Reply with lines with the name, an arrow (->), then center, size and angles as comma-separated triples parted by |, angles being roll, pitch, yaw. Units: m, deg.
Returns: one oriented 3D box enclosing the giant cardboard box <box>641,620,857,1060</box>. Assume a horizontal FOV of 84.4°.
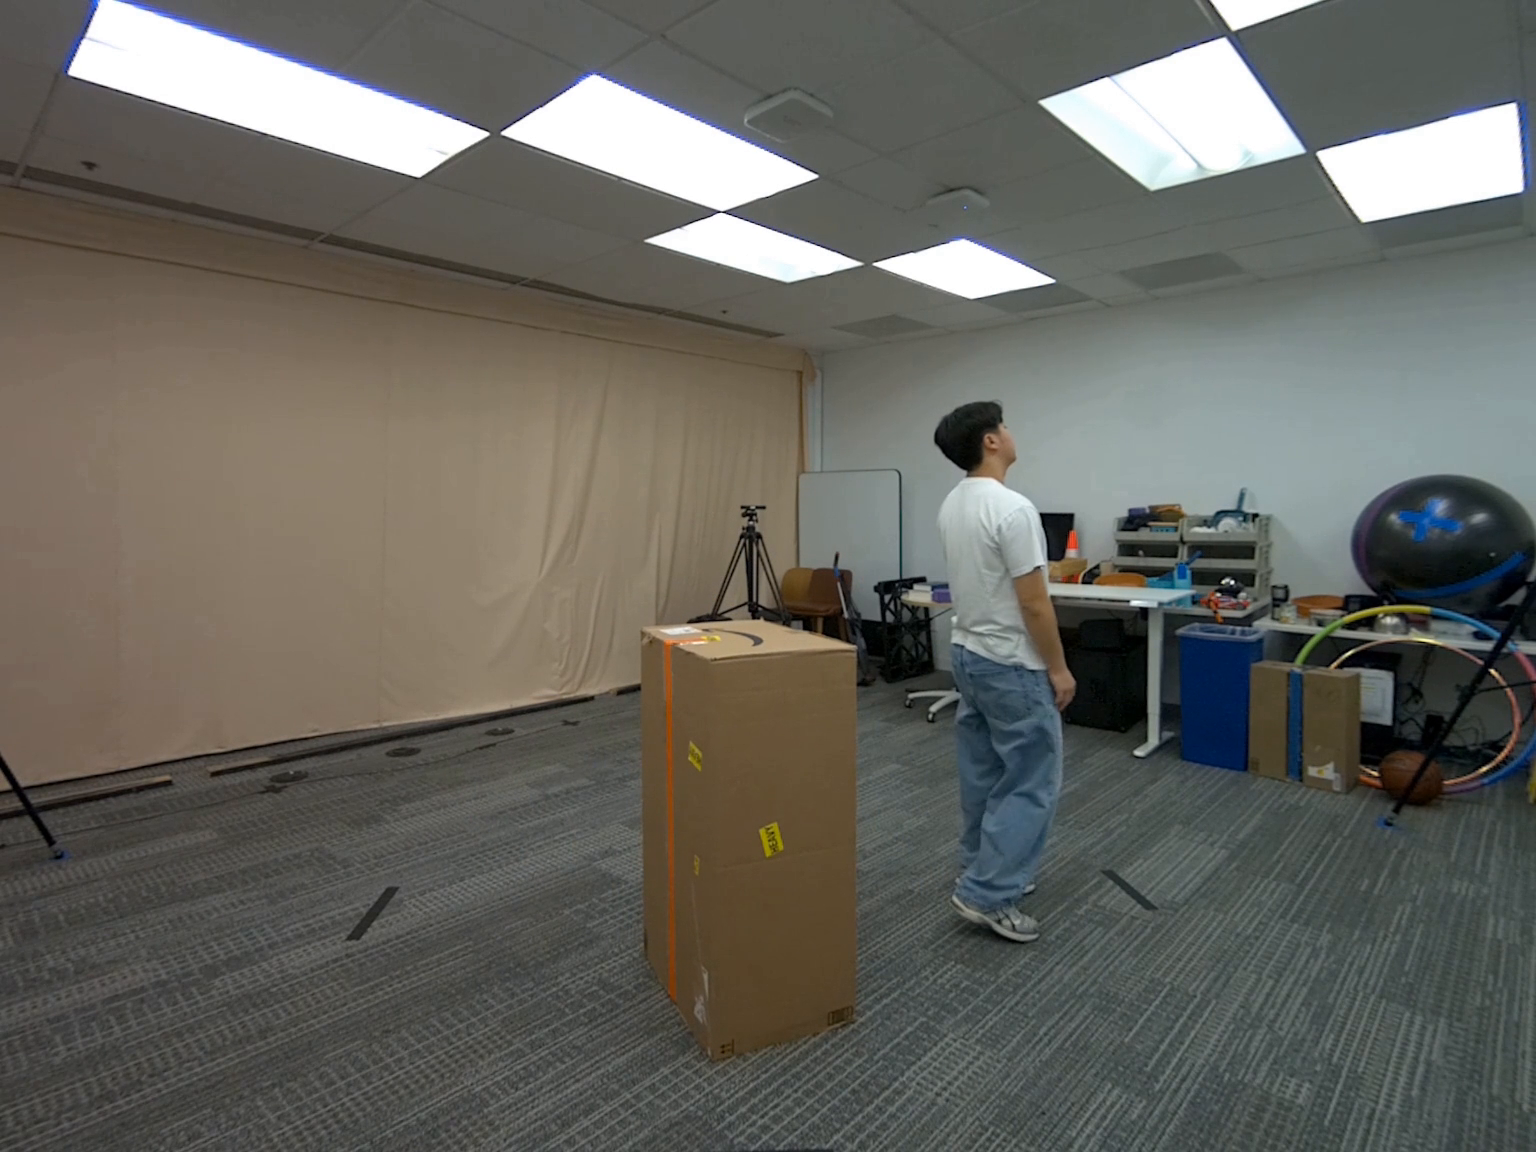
giant cardboard box -> -0.076, 0.682, 2.417 | 0.416, 1.024, 0.593 | -2, 4, -26
